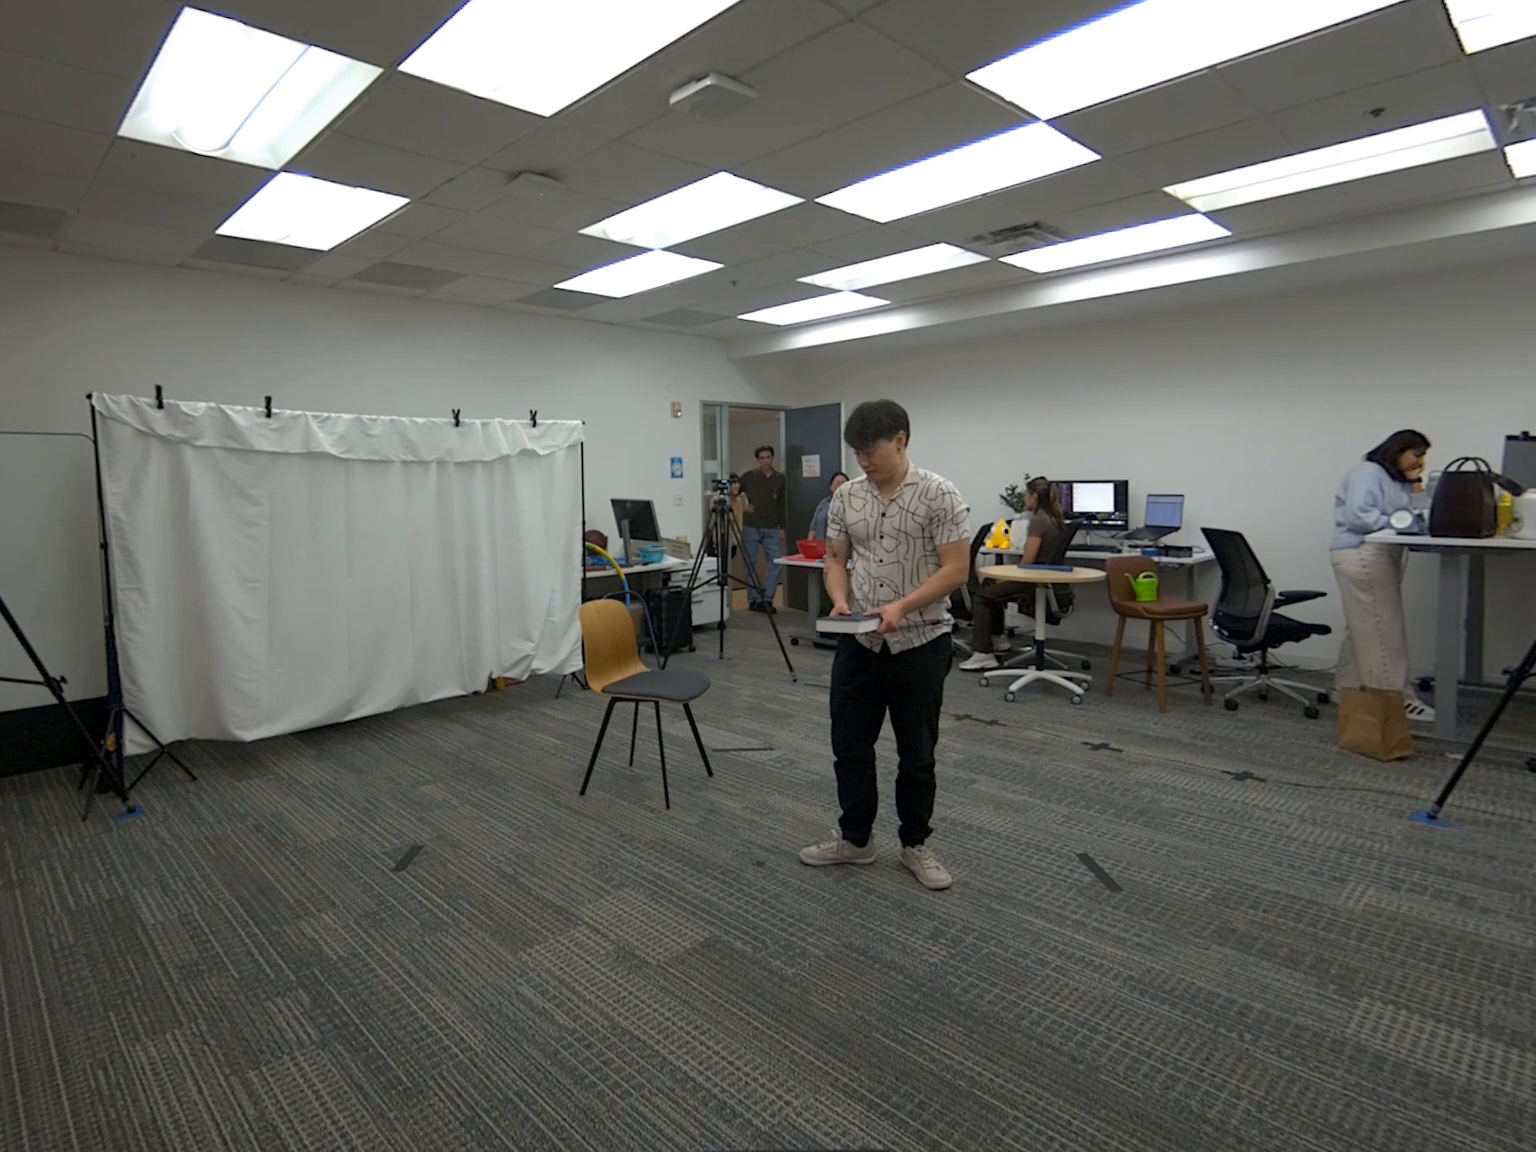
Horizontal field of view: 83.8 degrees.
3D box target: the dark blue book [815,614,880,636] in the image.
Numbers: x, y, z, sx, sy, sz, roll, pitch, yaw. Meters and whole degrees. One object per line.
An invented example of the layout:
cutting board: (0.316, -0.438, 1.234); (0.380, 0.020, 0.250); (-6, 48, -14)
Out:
dark blue book: (0.281, 0.155, 2.785); (0.167, 0.045, 0.239); (0, 2, 30)
